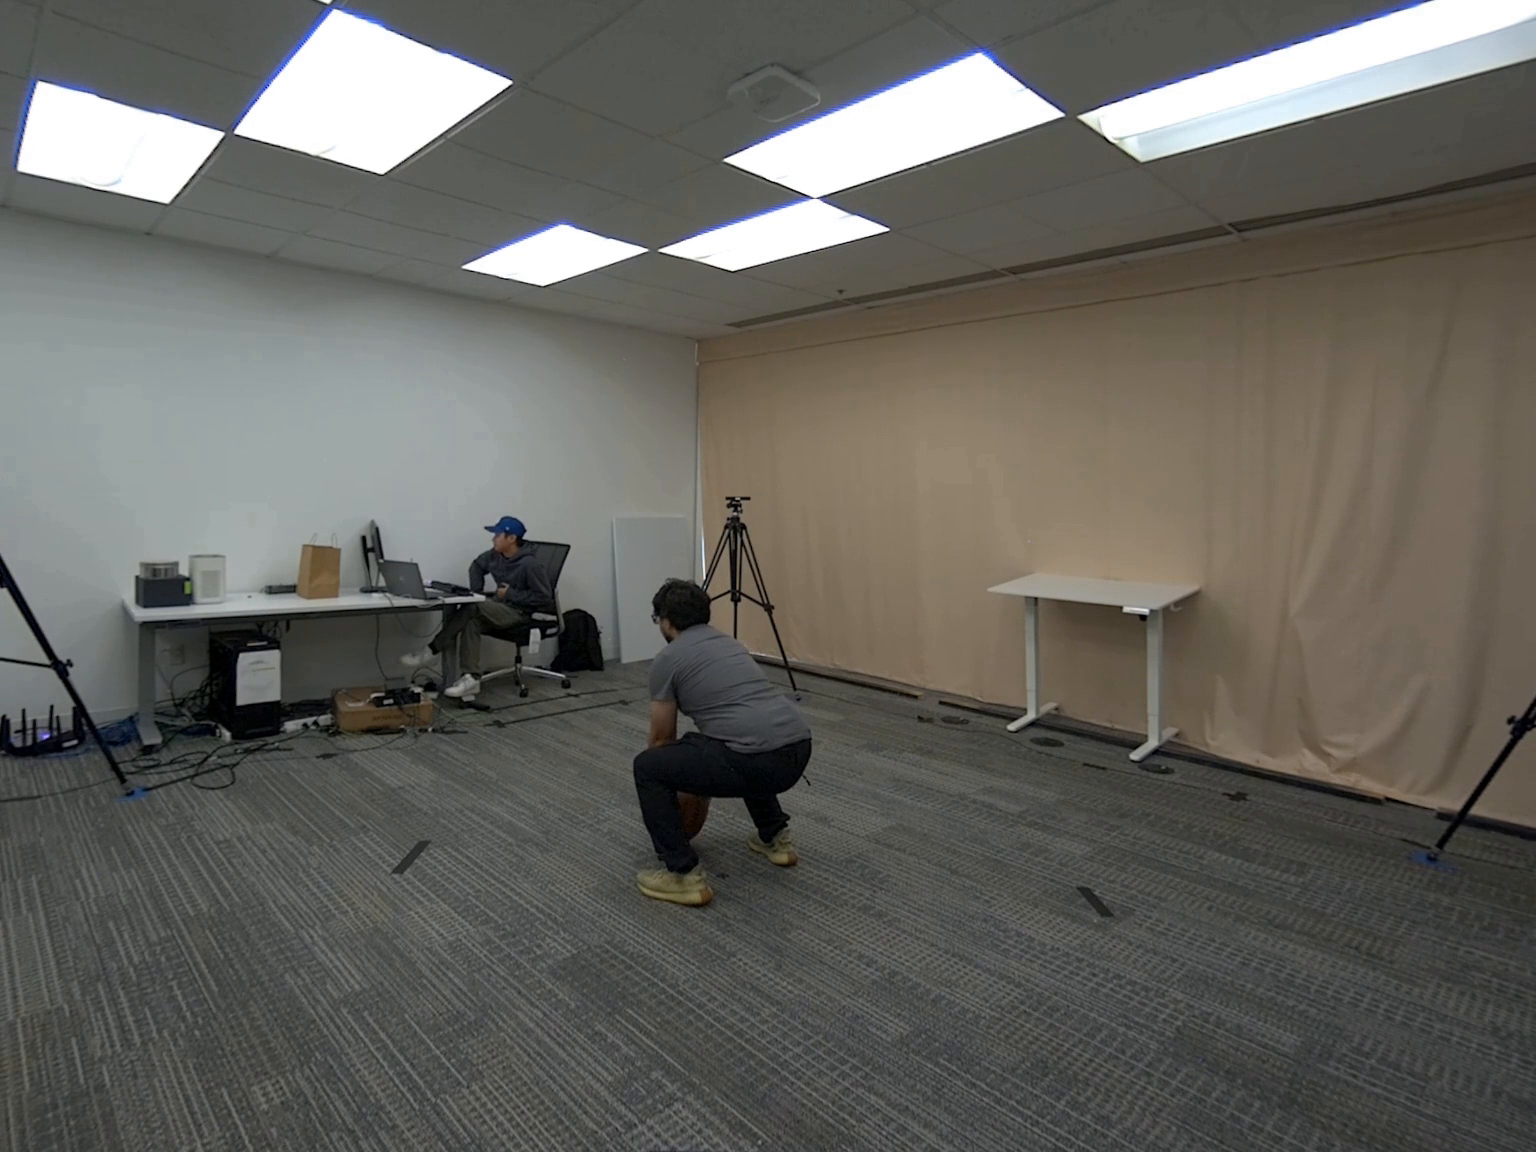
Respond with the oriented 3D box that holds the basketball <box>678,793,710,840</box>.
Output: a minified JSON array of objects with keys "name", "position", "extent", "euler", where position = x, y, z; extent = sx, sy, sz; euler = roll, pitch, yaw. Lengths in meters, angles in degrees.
[{"name":"basketball","position":[-0.364,0.928,3.322],"extent":[0.236,0.235,0.237],"euler":[1,4,-1]}]
